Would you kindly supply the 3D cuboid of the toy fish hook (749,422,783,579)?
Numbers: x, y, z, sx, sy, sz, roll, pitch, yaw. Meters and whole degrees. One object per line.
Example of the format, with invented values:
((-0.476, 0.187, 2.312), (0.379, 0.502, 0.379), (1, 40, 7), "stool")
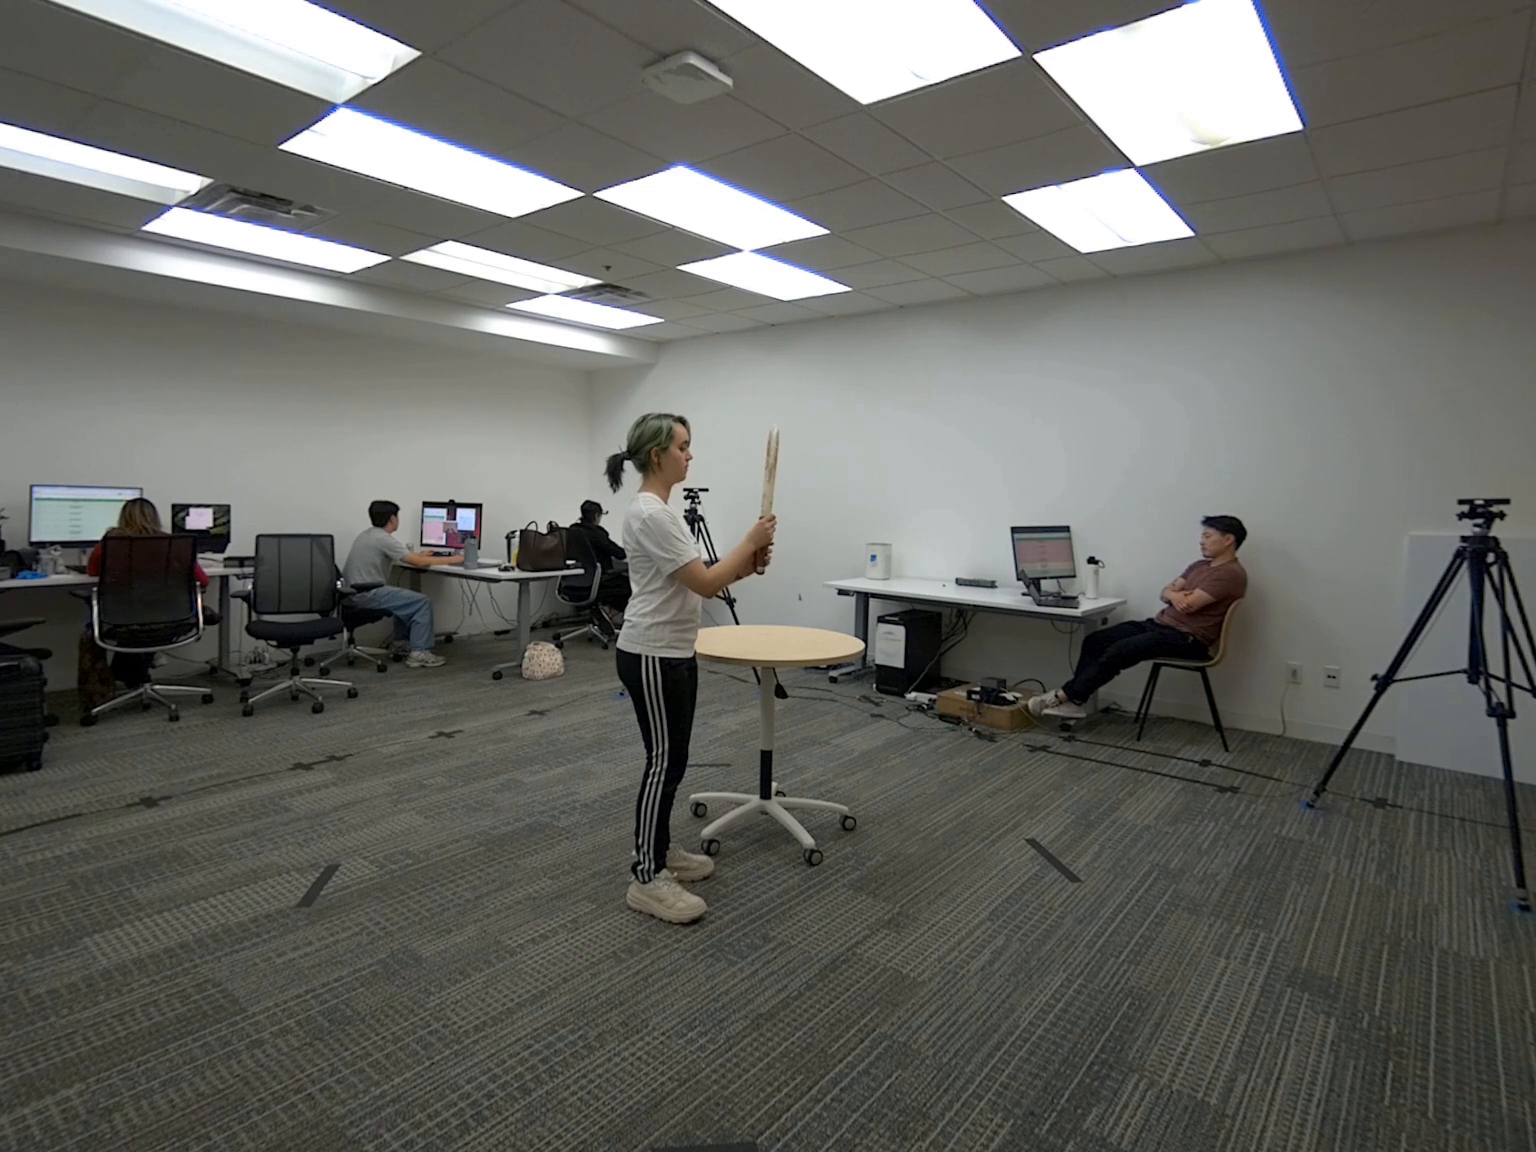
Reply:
((-0.014, -0.252, 2.841), (0.048, 0.506, 0.223), (7, 0, 3), "toy fish hook")
